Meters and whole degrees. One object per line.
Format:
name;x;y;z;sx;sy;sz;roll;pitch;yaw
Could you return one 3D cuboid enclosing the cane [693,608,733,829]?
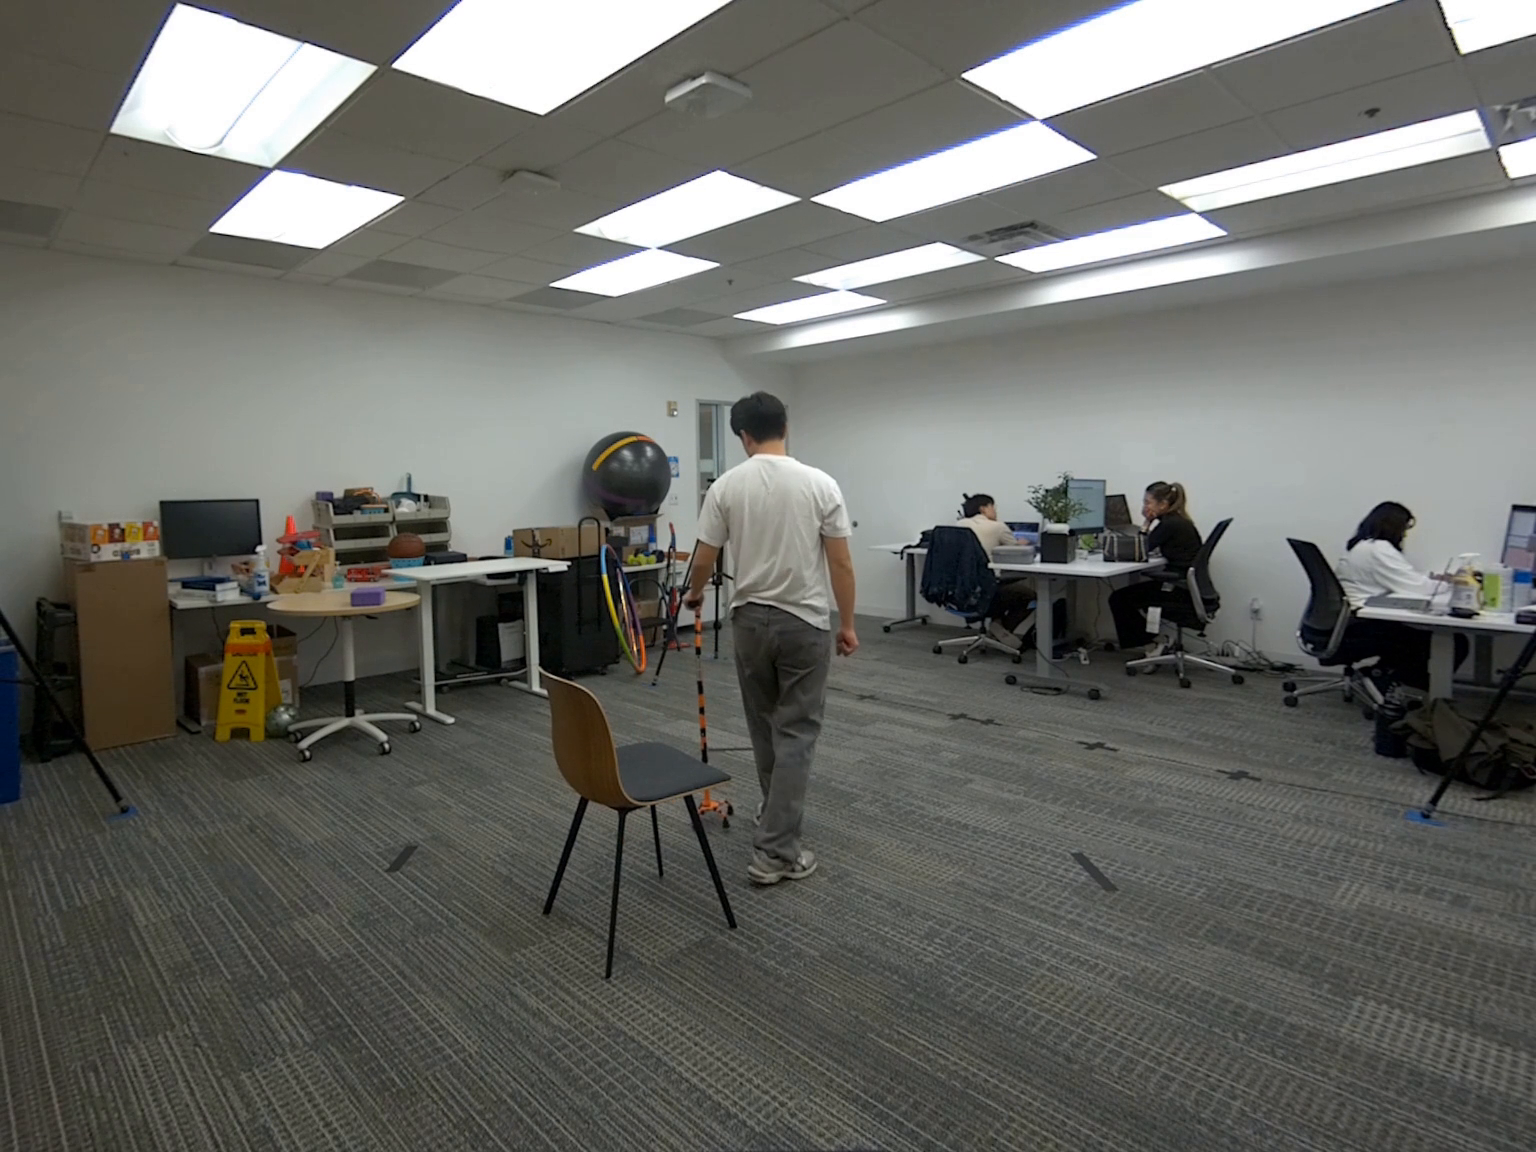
cane;-0.252;0.550;3.495;0.152;0.907;0.205;-4;1;4
